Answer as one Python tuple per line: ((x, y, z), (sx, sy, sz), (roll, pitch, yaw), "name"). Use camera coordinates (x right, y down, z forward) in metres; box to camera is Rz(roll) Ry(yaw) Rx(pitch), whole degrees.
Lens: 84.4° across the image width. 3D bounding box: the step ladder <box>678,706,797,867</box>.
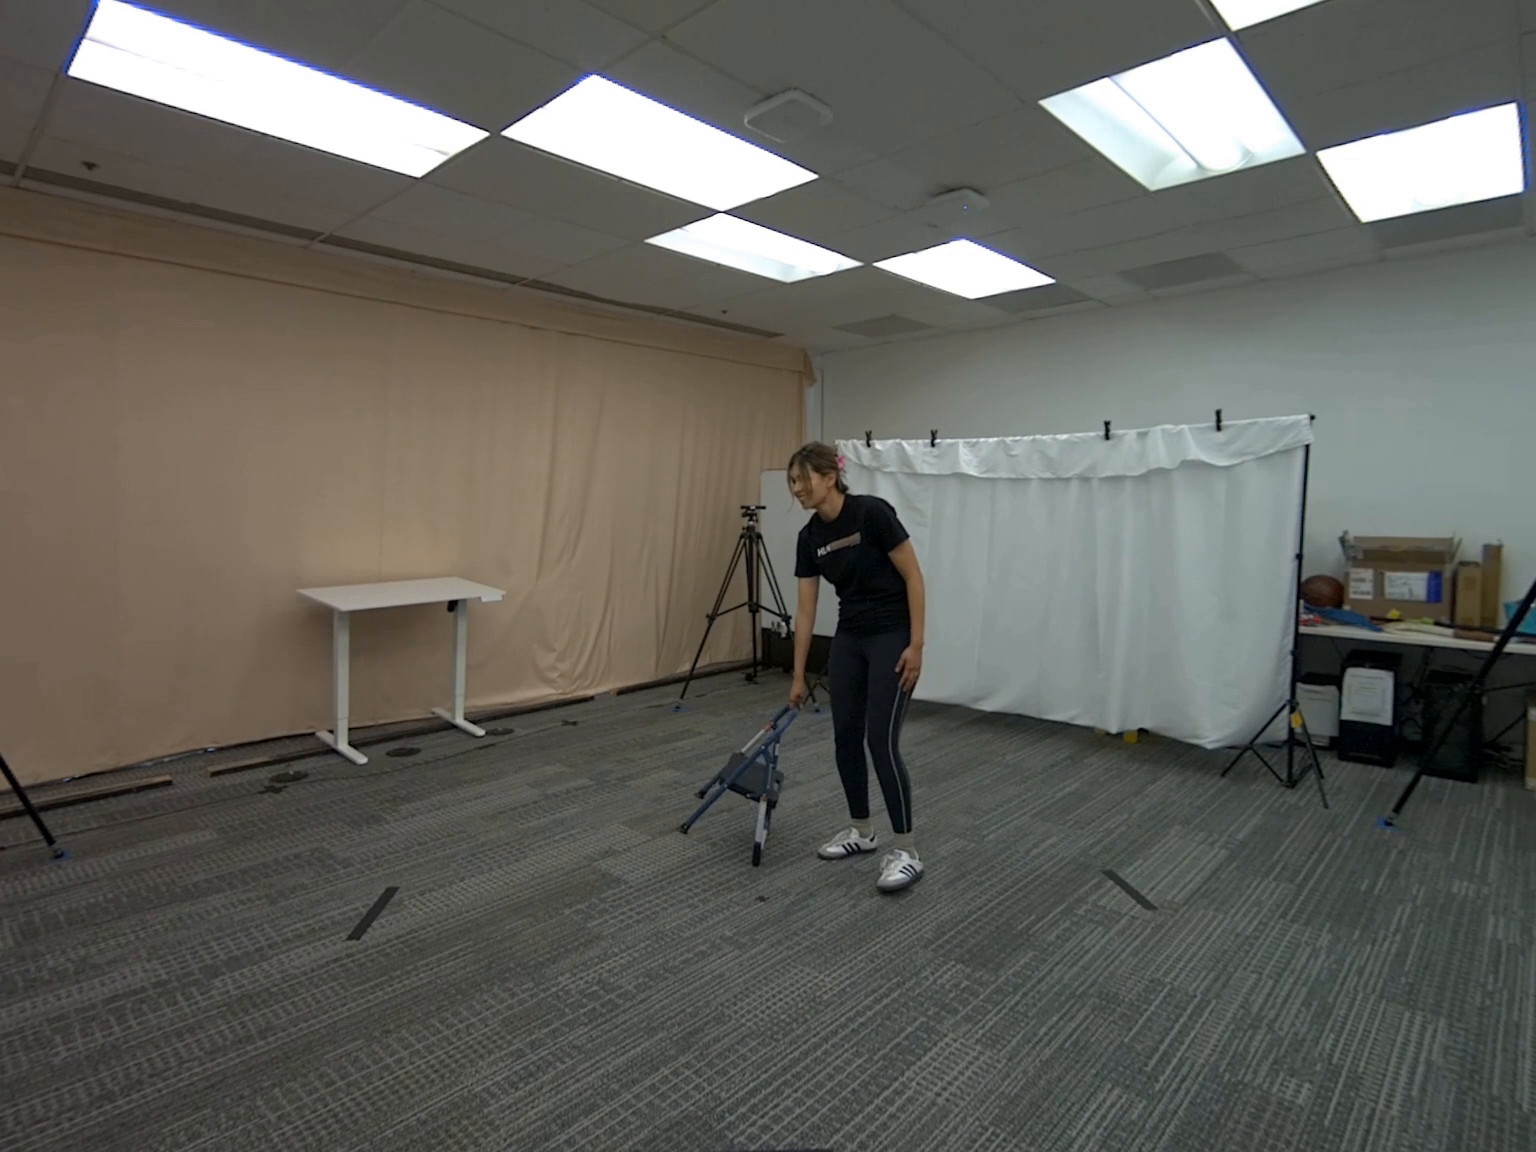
((-0.064, 0.768, 3.437), (0.352, 0.605, 0.428), (22, 6, 5), "step ladder")
